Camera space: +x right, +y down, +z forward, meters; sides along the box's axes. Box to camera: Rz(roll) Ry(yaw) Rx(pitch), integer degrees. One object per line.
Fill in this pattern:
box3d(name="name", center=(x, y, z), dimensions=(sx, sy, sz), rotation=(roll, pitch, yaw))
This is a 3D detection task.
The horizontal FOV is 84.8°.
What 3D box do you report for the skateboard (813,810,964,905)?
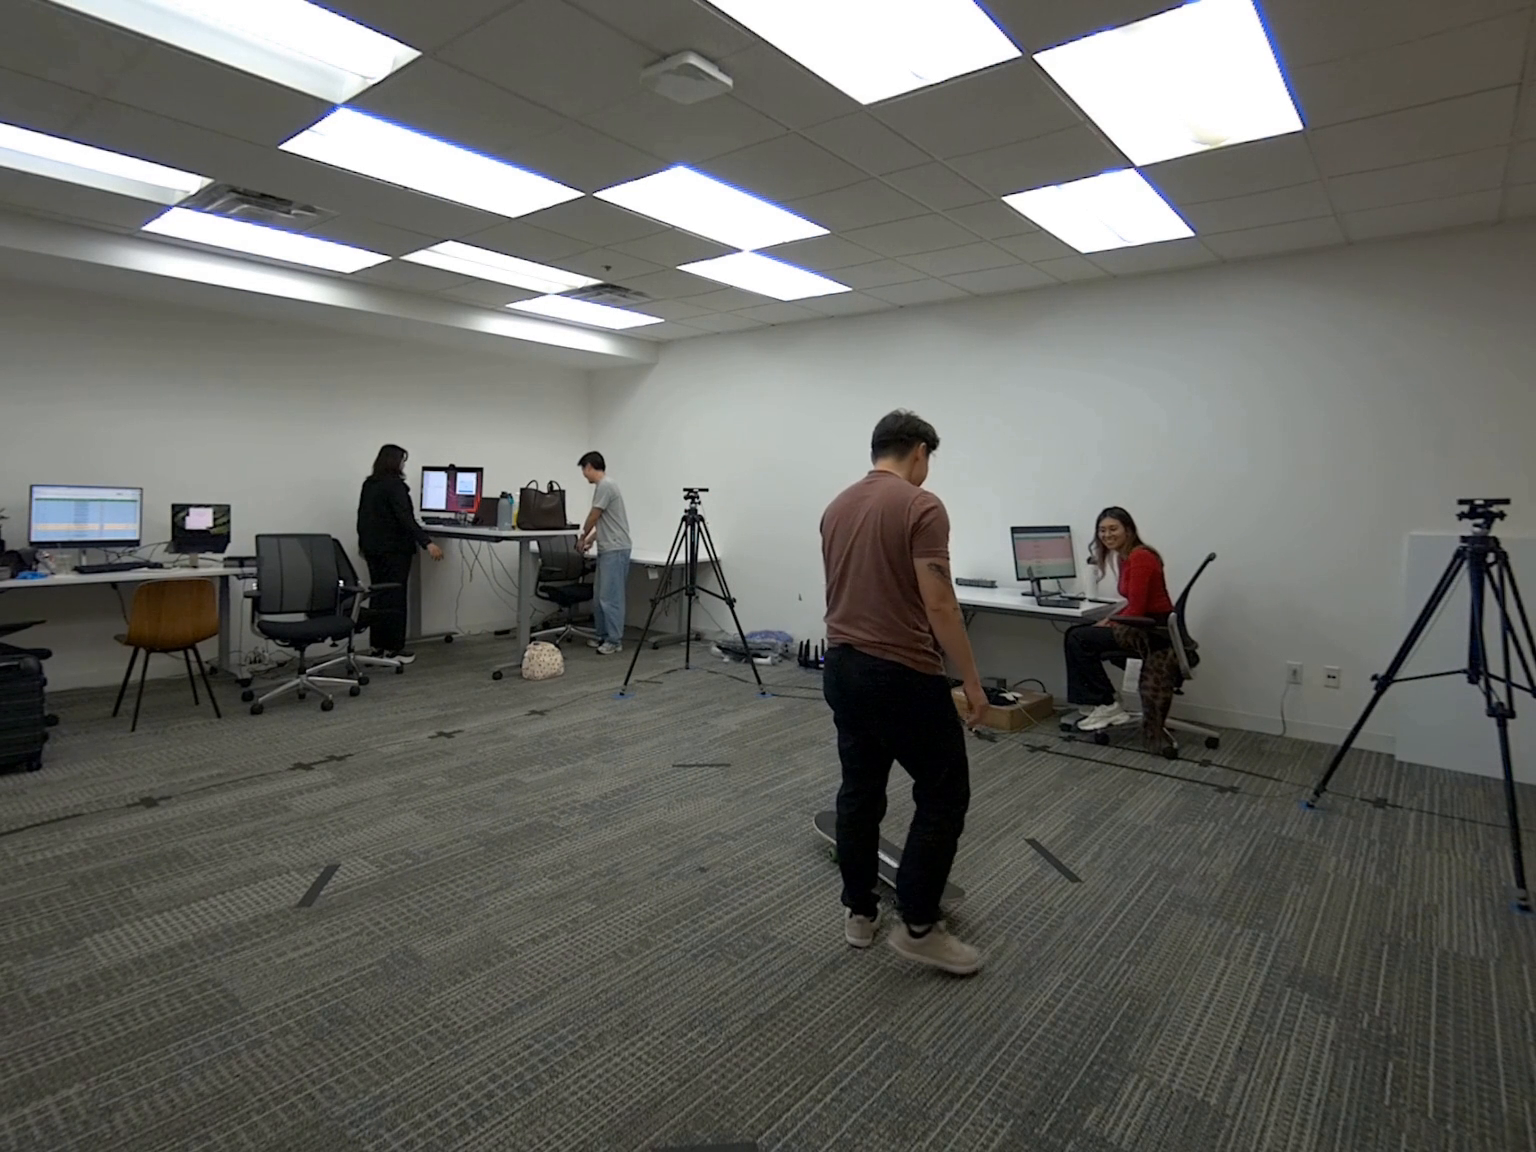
box3d(name="skateboard", center=(0.406, 1.032, 3.057), dimensions=(0.189, 0.110, 0.808), rotation=(-1, 6, -26))
